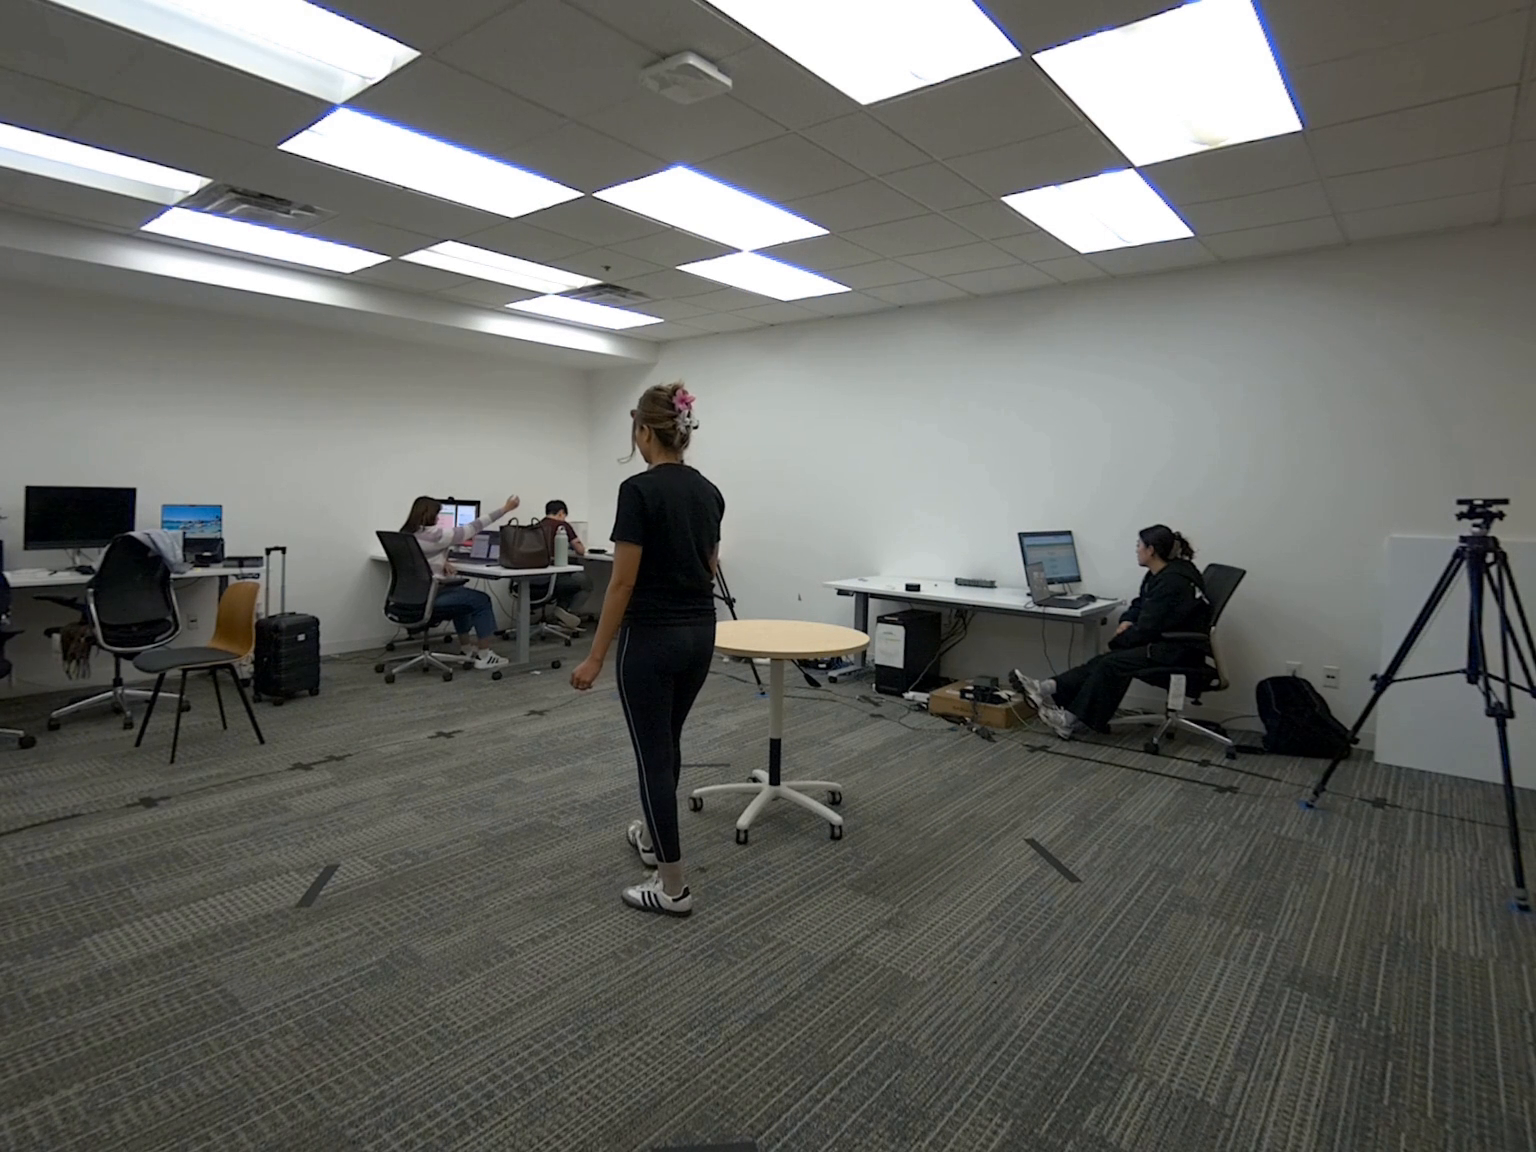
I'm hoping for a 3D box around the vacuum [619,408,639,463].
[{"bbox_3d":[-0.478,-0.074,3.213,0.256,1.044,0.143,11,6,9],"label":"vacuum"}]
